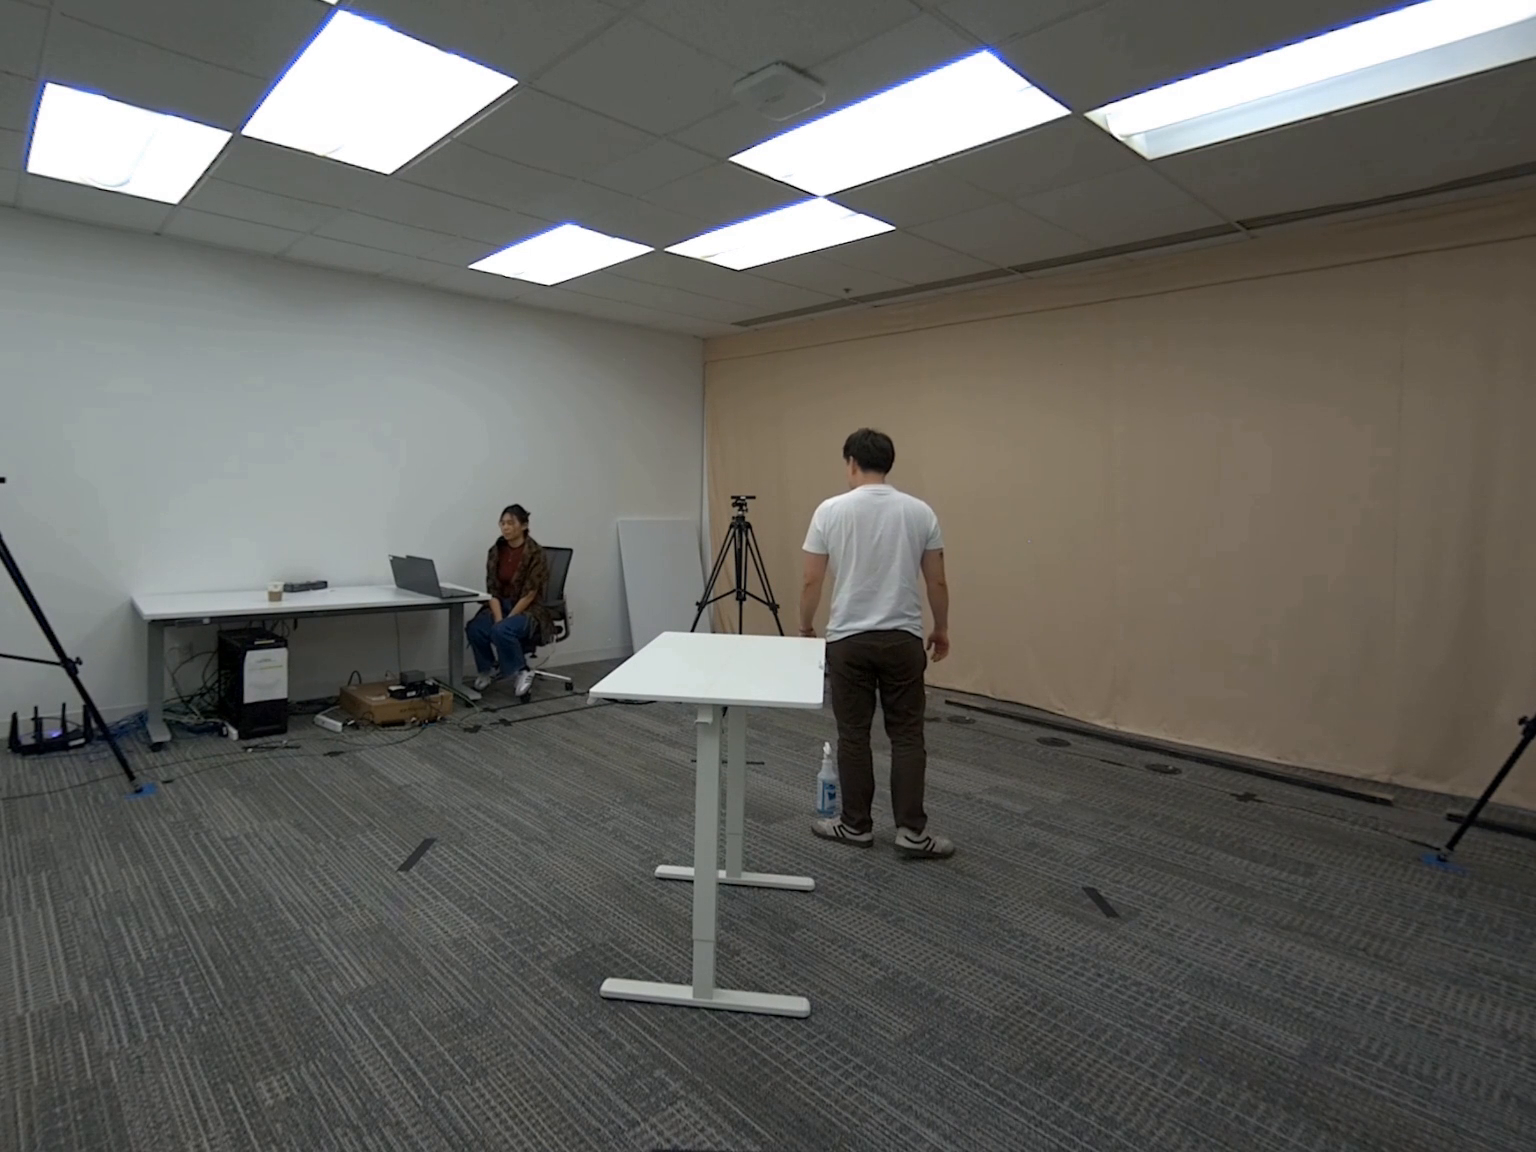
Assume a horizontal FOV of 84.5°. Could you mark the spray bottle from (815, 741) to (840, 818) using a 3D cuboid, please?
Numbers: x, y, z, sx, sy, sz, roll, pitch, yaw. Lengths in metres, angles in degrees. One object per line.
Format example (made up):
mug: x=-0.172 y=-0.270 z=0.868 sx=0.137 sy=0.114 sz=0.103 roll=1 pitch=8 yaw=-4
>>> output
spray bottle: x=0.256 y=0.910 z=3.785 sx=0.088 sy=0.297 sz=0.088 roll=2 pitch=2 yaw=22
